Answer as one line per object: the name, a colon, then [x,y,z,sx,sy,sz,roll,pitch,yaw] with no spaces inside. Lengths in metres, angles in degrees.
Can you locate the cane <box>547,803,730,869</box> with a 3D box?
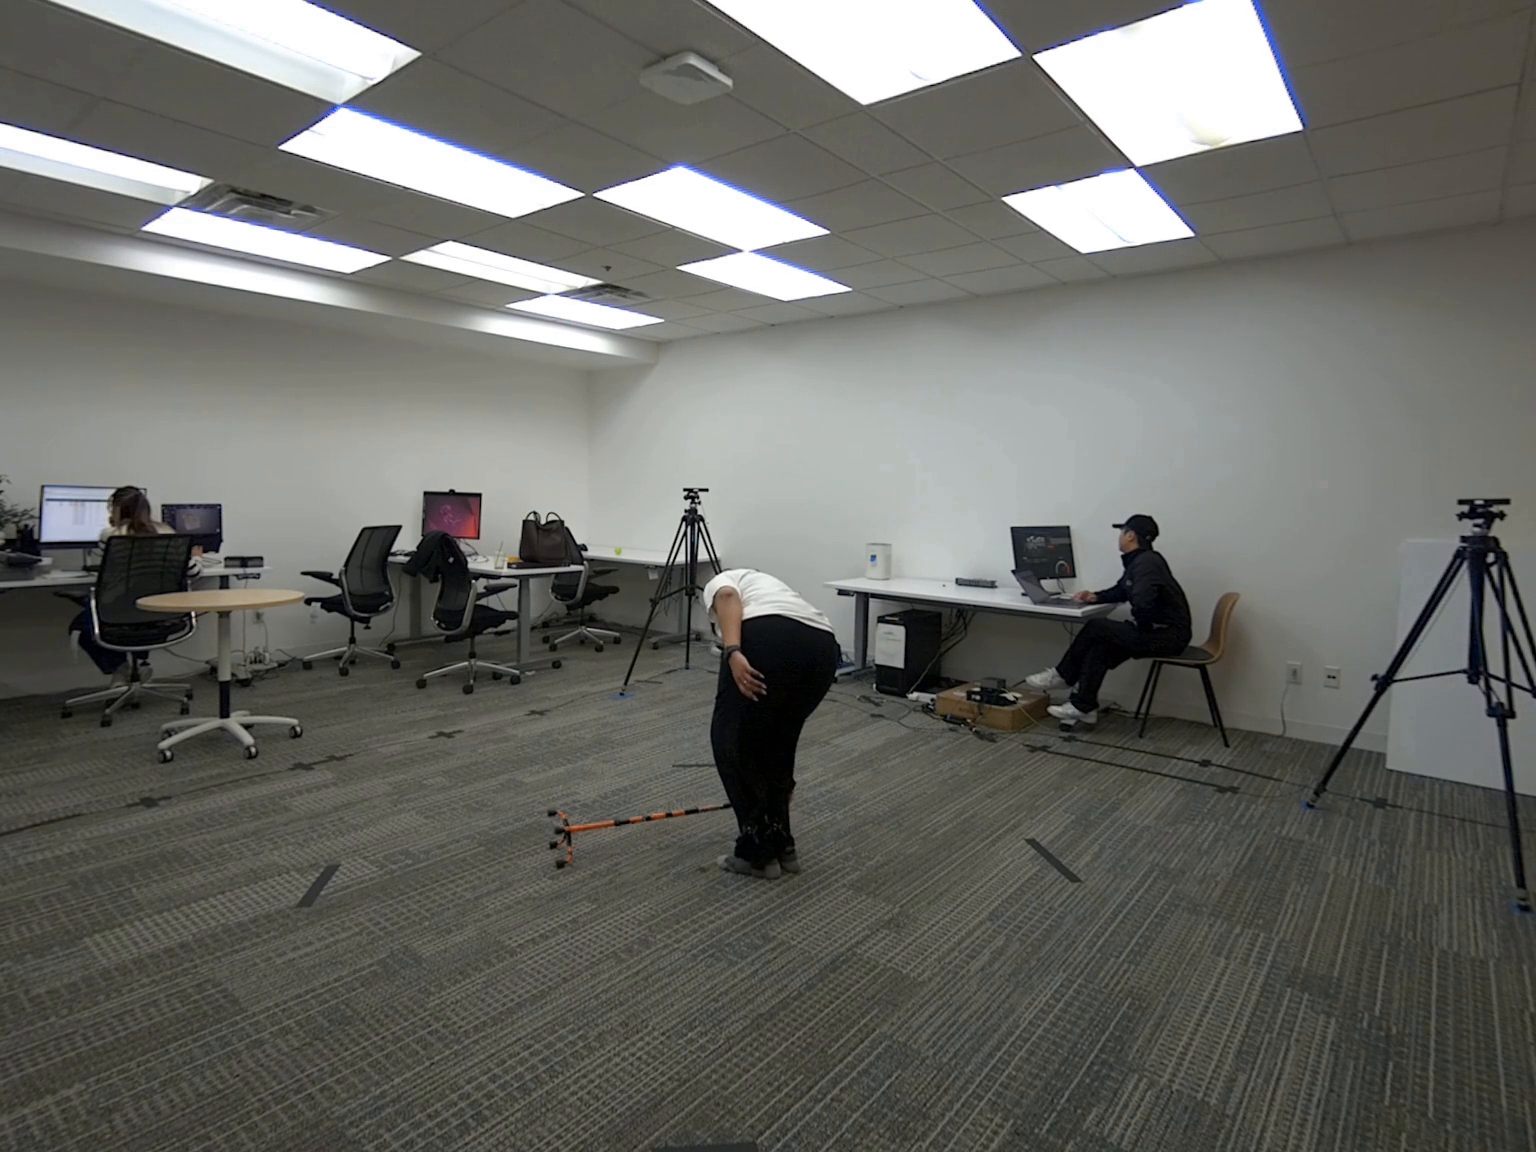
cane: [-0.405,0.935,3.327,0.891,0.151,0.211,-4,5,-20]
